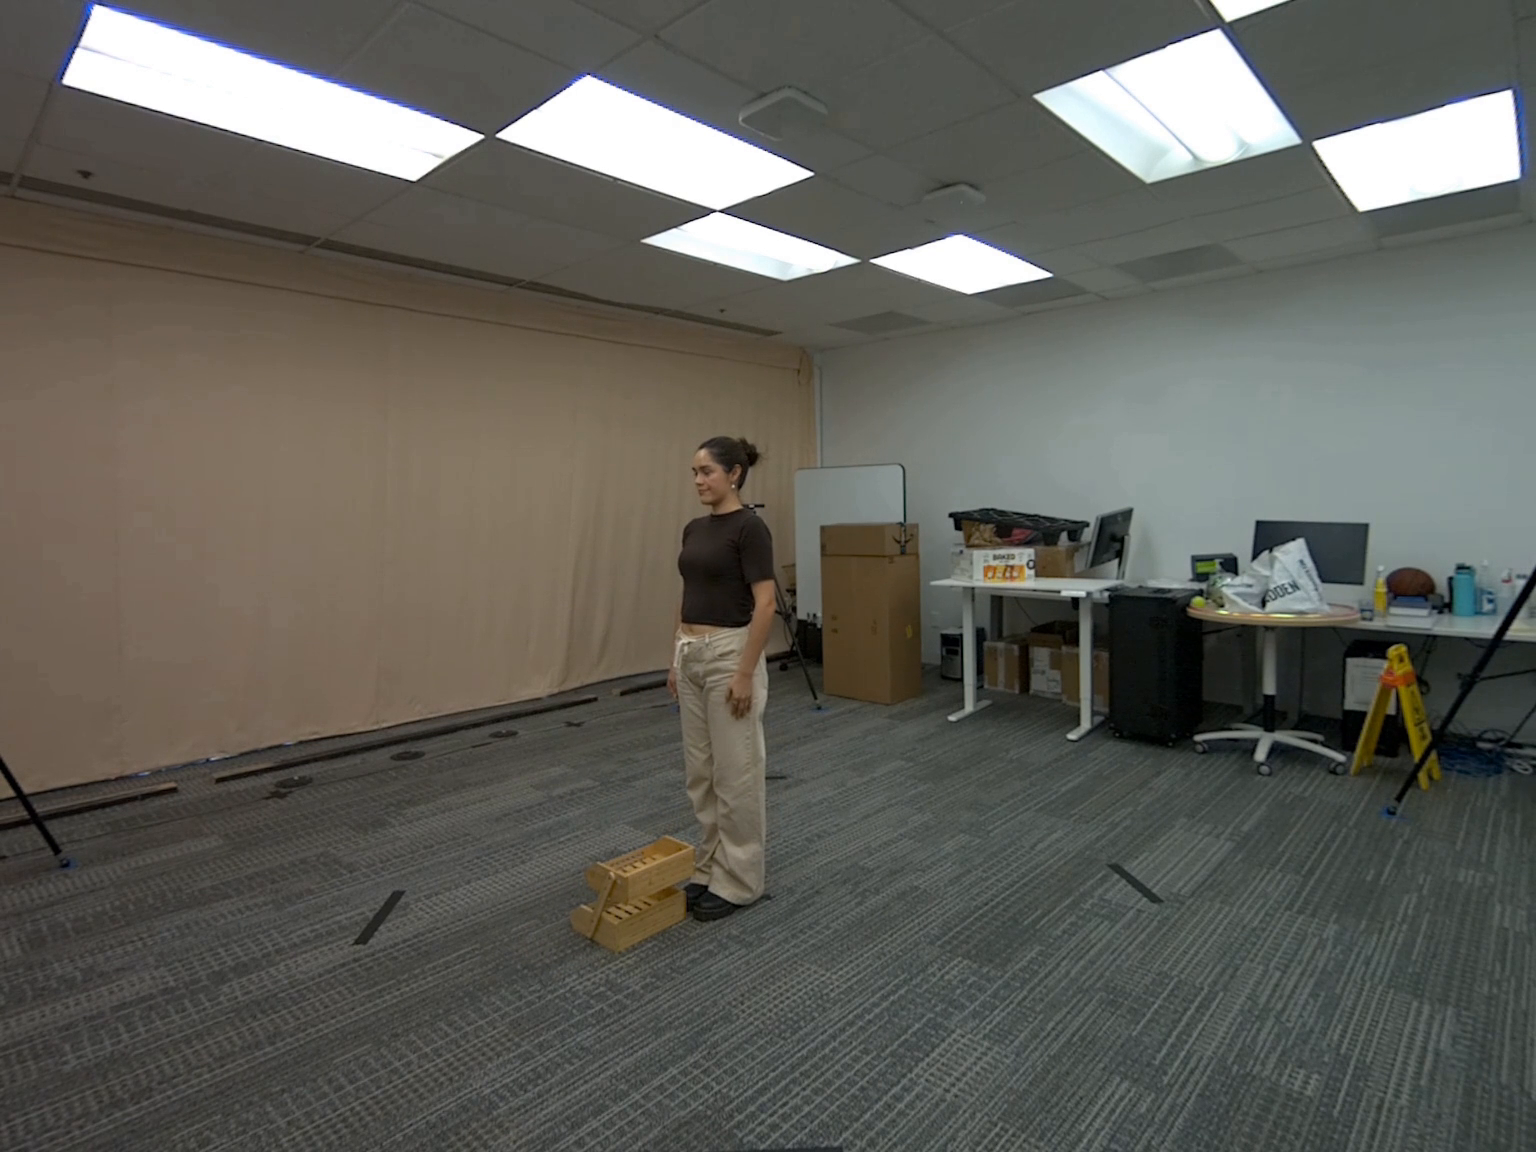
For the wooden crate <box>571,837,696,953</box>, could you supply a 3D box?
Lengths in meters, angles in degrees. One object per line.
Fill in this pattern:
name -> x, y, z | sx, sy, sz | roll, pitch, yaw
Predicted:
wooden crate -> -0.448, 1.029, 2.799 | 0.312, 0.272, 0.314 | 4, 6, 42
